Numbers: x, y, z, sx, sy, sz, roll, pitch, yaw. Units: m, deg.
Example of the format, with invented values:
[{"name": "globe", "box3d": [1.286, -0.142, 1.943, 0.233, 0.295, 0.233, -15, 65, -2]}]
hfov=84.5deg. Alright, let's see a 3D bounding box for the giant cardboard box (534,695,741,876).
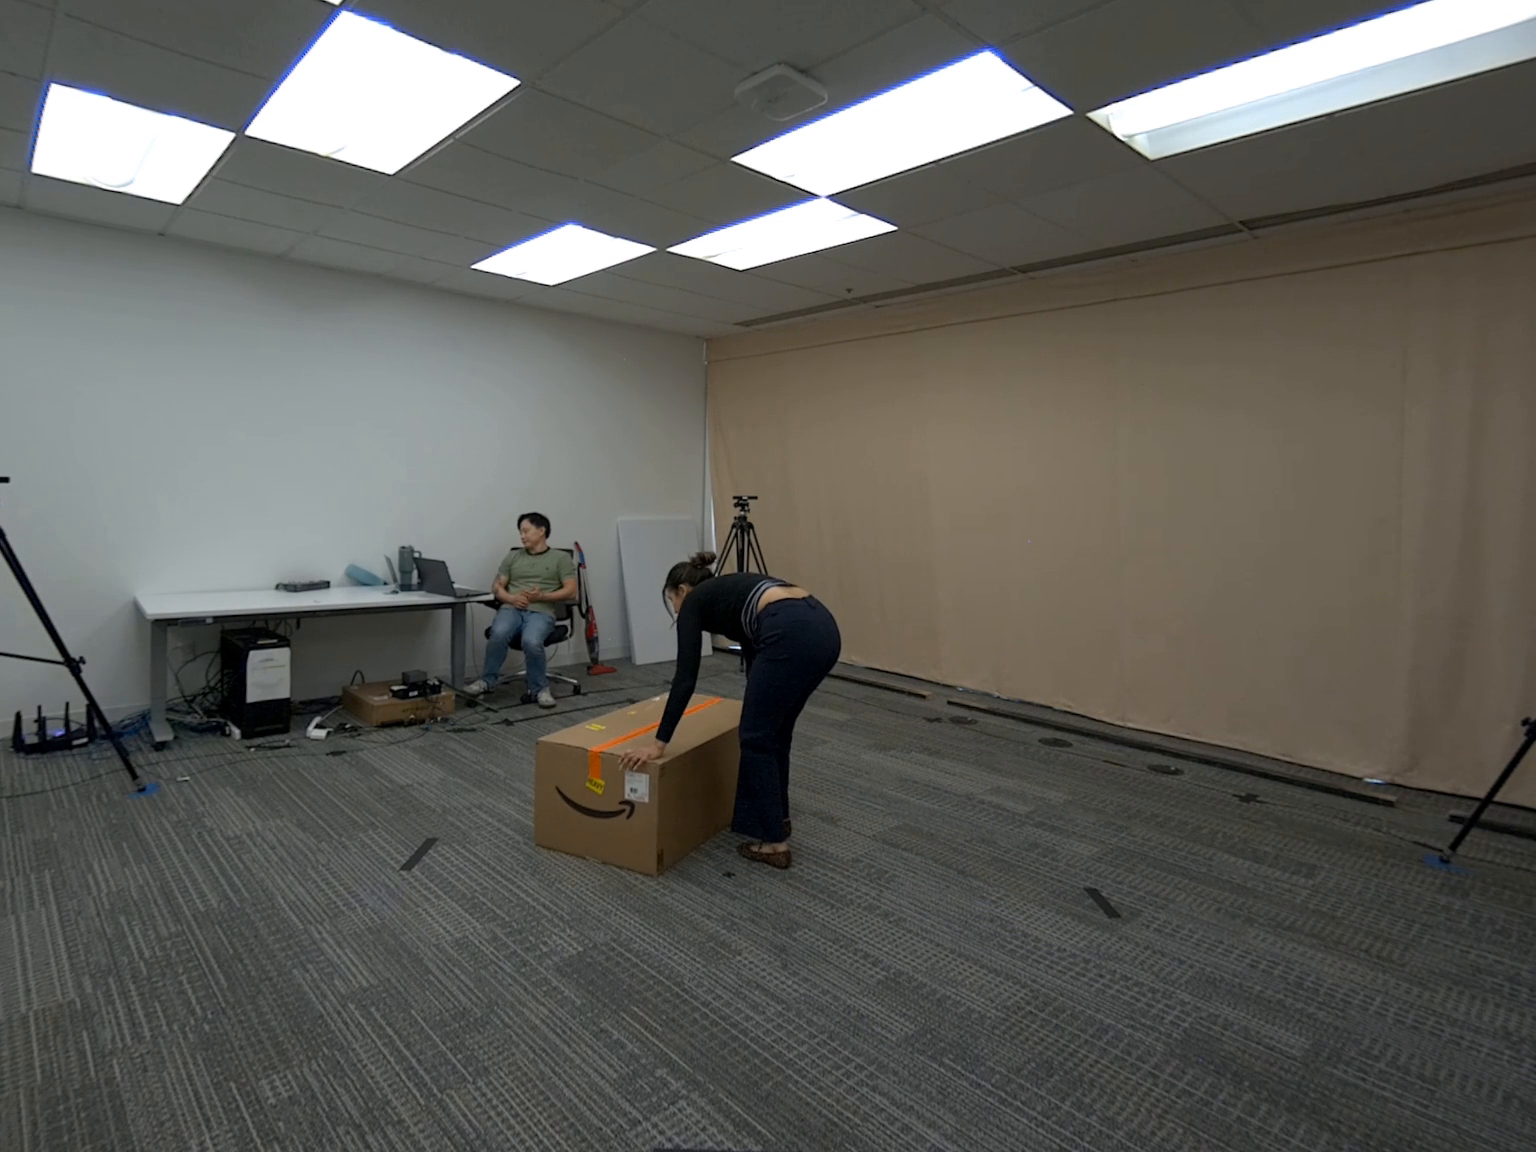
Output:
[{"name": "giant cardboard box", "box3d": [-0.453, 0.833, 3.636, 0.589, 0.425, 1.008, 5, 6, 25]}]
